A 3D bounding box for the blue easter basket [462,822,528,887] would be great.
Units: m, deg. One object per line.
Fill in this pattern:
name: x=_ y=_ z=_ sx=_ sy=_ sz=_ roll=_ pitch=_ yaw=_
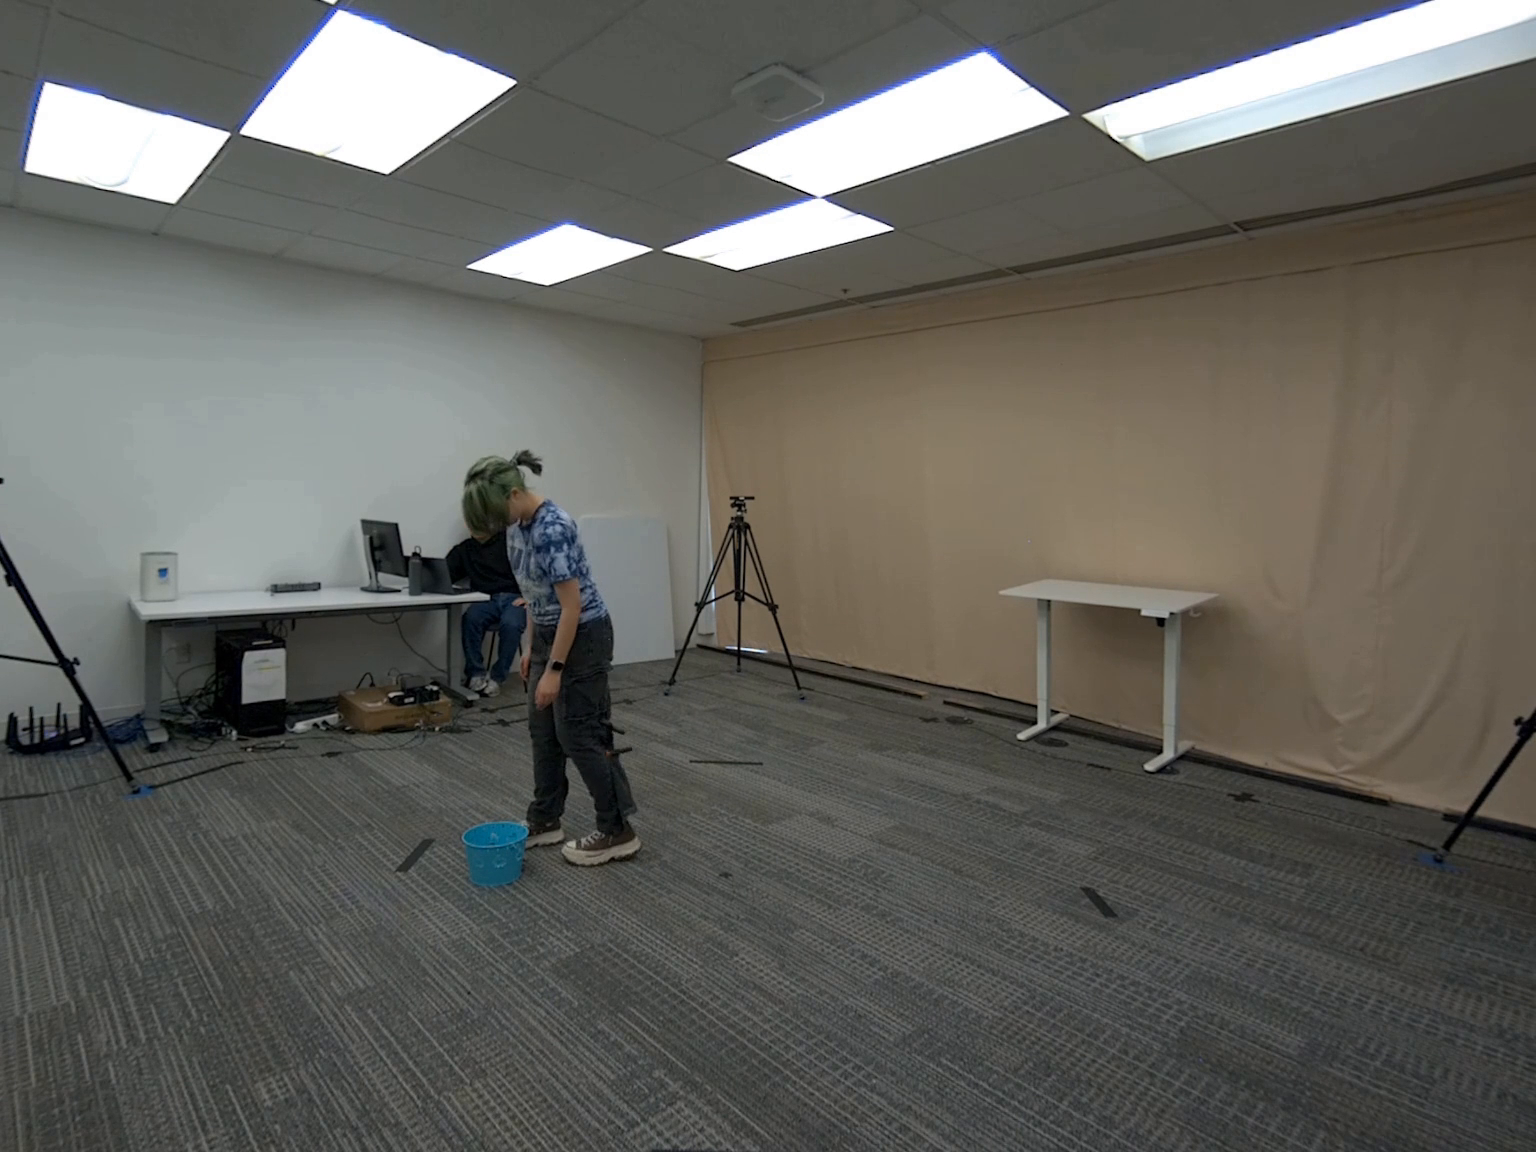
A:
blue easter basket: x=-0.996 y=1.016 z=3.057 sx=0.243 sy=0.155 sz=0.244 roll=2 pitch=5 yaw=-2
